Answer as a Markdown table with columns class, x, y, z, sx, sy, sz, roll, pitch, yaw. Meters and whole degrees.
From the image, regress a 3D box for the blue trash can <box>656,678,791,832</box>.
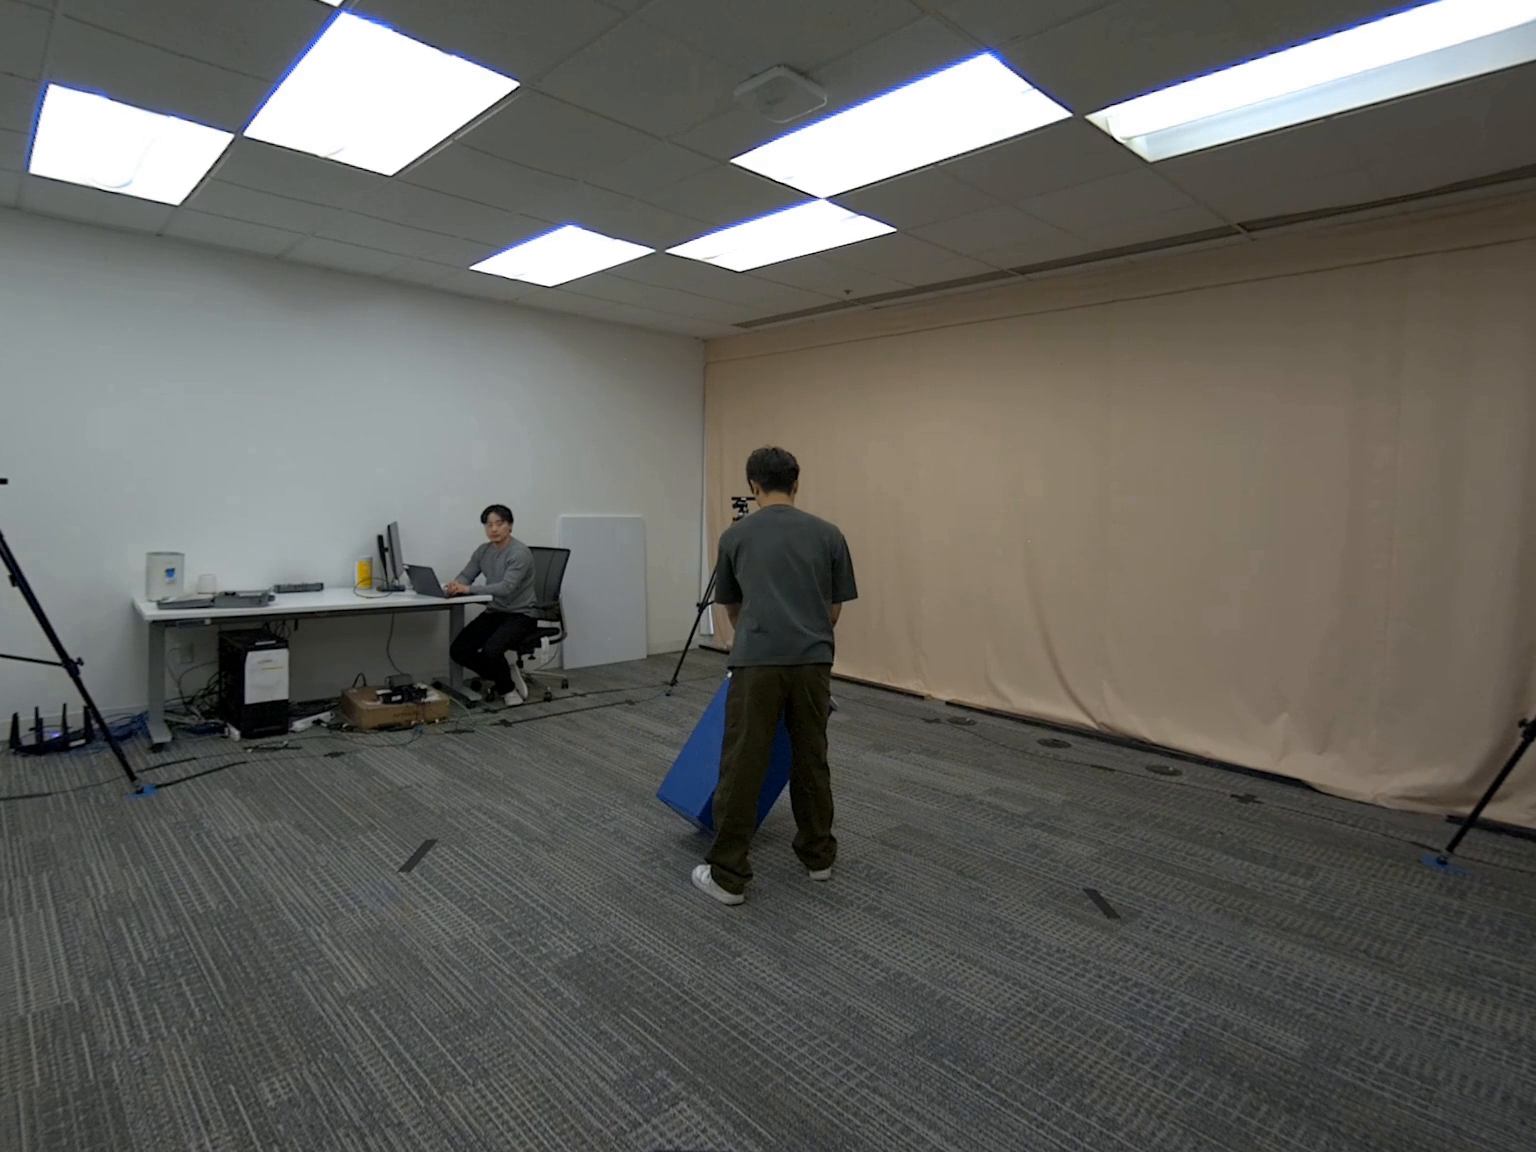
| class | x | y | z | sx | sy | sz | roll | pitch | yaw |
| --- | --- | --- | --- | --- | --- | --- | --- | --- | --- |
| blue trash can | -0.093 | 0.708 | 3.460 | 0.388 | 0.716 | 0.363 | 8 | -32 | 50 |
